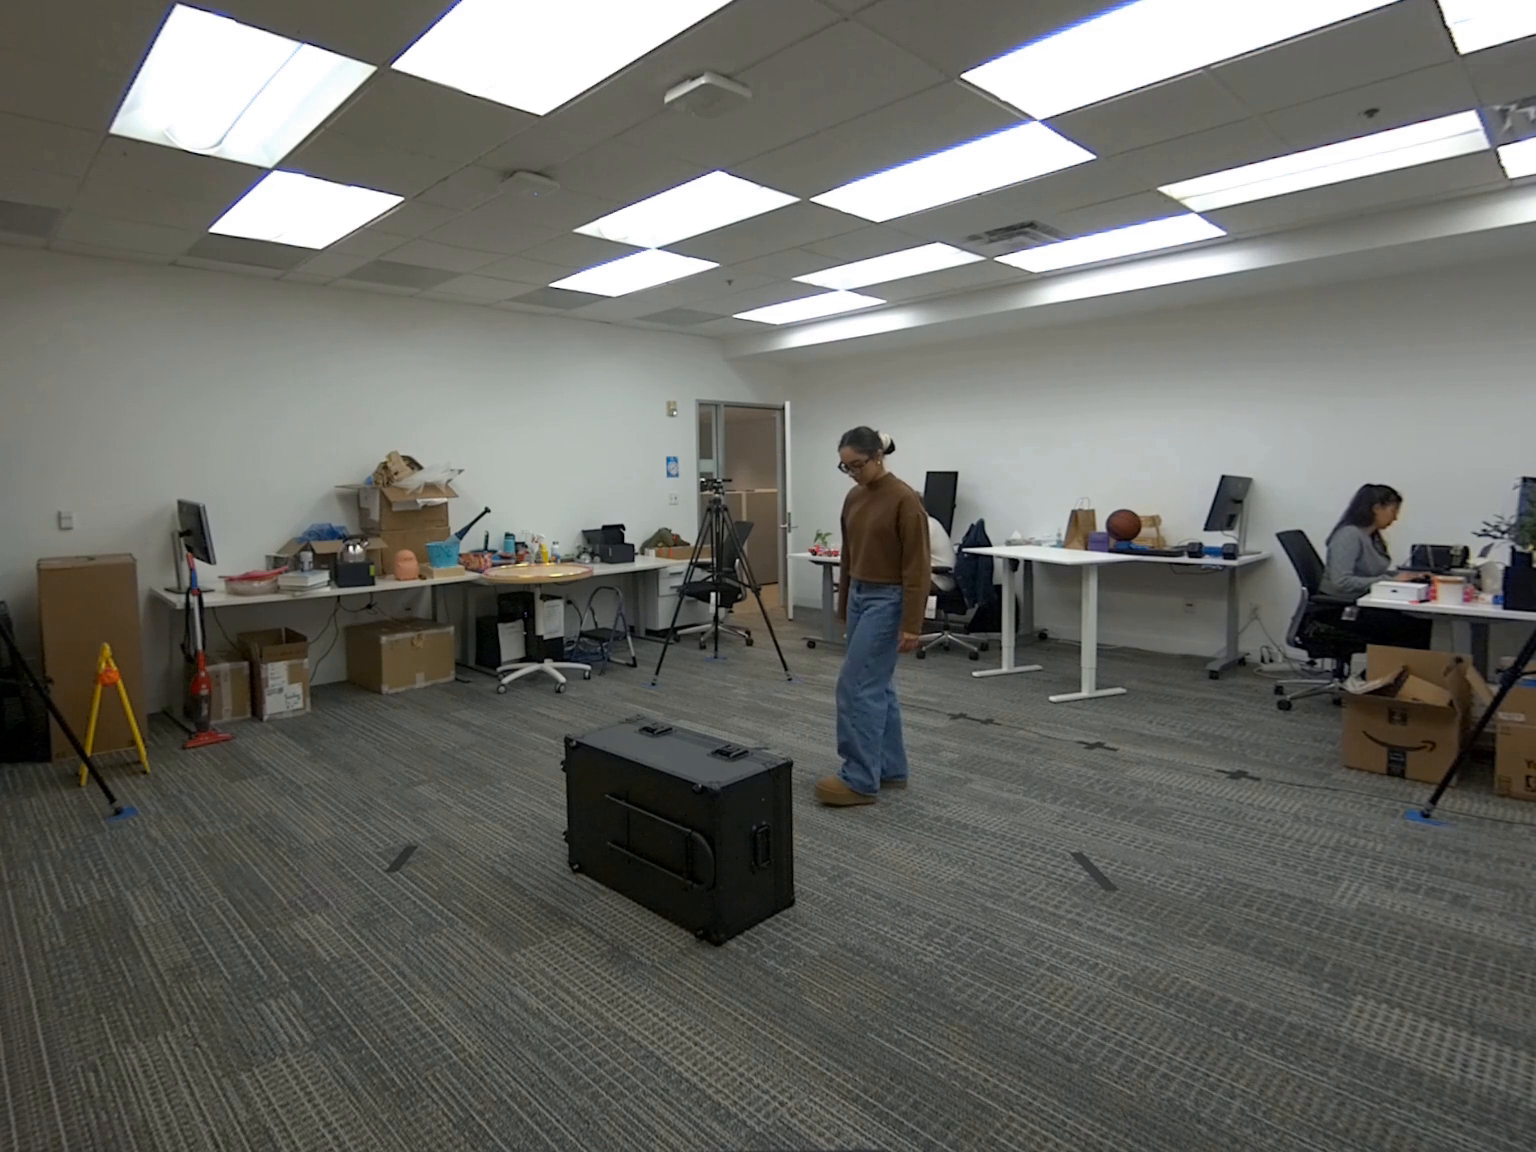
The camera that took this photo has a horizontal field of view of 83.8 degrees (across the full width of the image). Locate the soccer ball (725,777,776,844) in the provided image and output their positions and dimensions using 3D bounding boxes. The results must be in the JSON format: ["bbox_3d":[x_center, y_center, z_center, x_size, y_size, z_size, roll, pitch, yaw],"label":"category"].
[{"bbox_3d":[-0.073,0.920,3.382,0.187,0.187,0.188,-1,5,-2],"label":"soccer ball"}]
